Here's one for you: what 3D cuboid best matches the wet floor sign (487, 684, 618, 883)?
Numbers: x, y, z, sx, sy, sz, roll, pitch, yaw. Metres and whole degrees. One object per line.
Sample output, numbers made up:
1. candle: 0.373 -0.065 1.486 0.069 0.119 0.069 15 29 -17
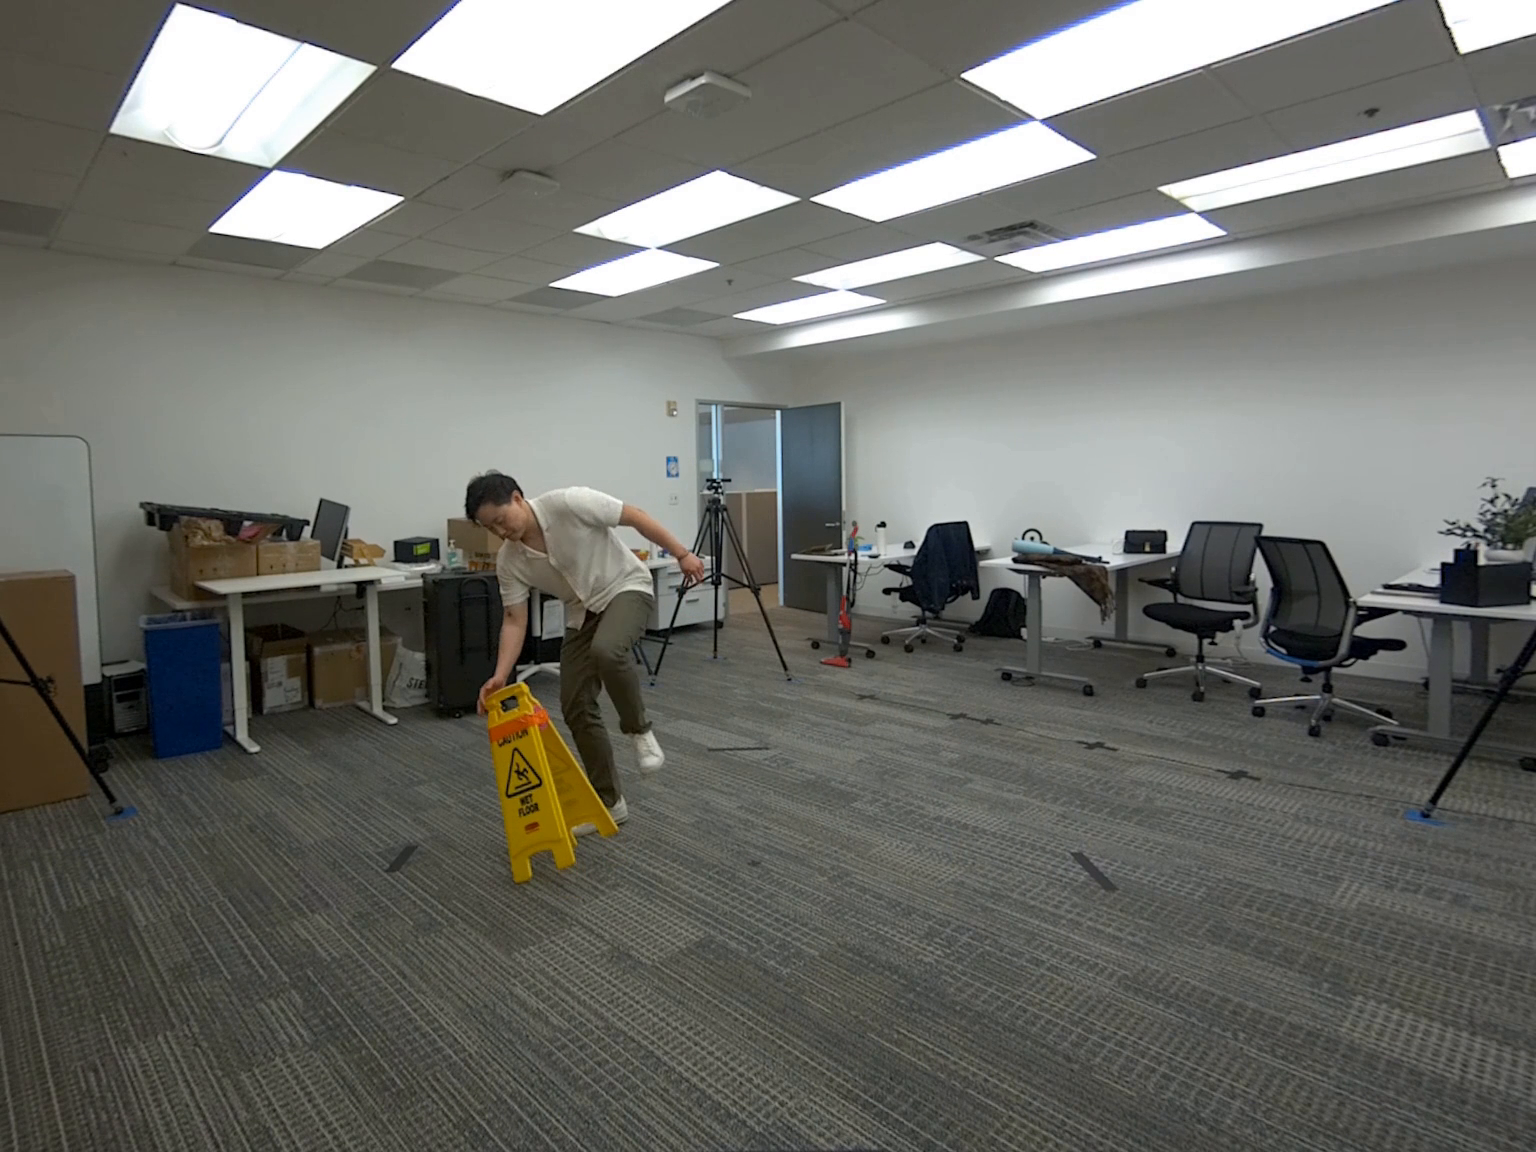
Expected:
1. wet floor sign: -0.843 0.714 3.101 0.285 0.651 0.284 -26 -6 21
